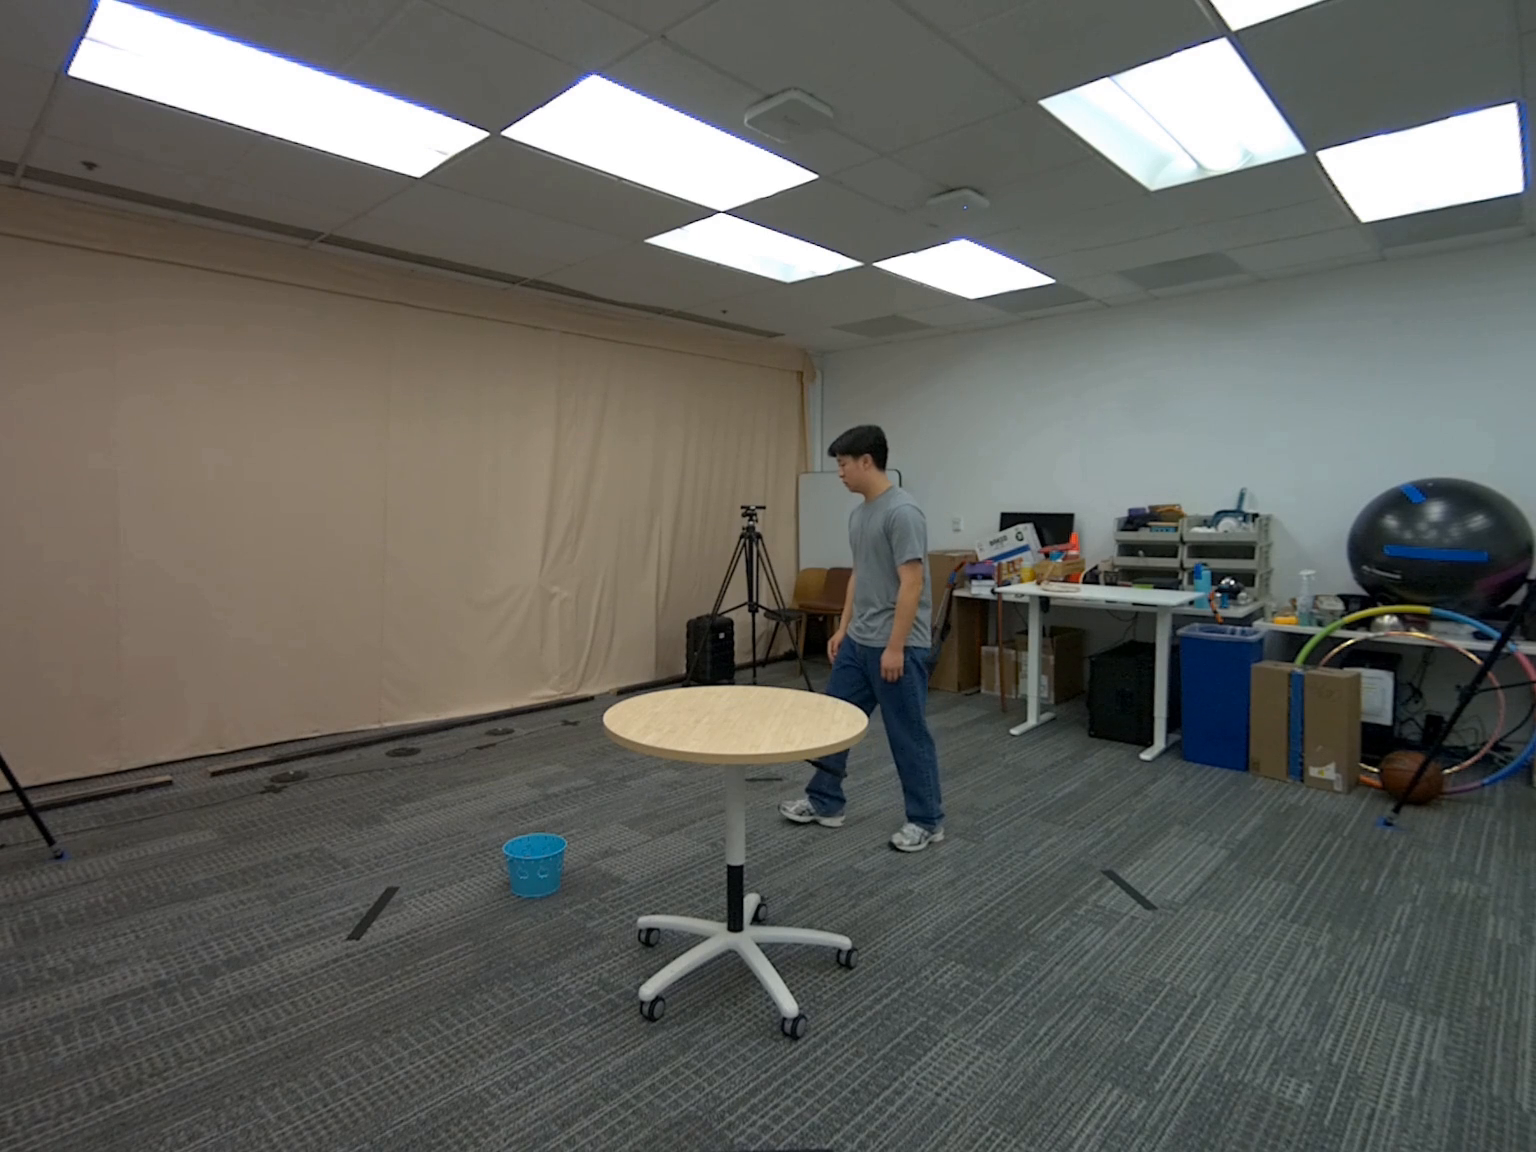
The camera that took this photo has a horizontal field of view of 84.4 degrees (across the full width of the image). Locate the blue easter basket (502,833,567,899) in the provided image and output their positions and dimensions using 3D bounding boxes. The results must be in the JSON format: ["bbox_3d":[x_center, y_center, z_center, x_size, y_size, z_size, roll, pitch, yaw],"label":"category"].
[{"bbox_3d":[-0.855,1.064,3.104,0.243,0.155,0.244,0,4,-2],"label":"blue easter basket"}]
